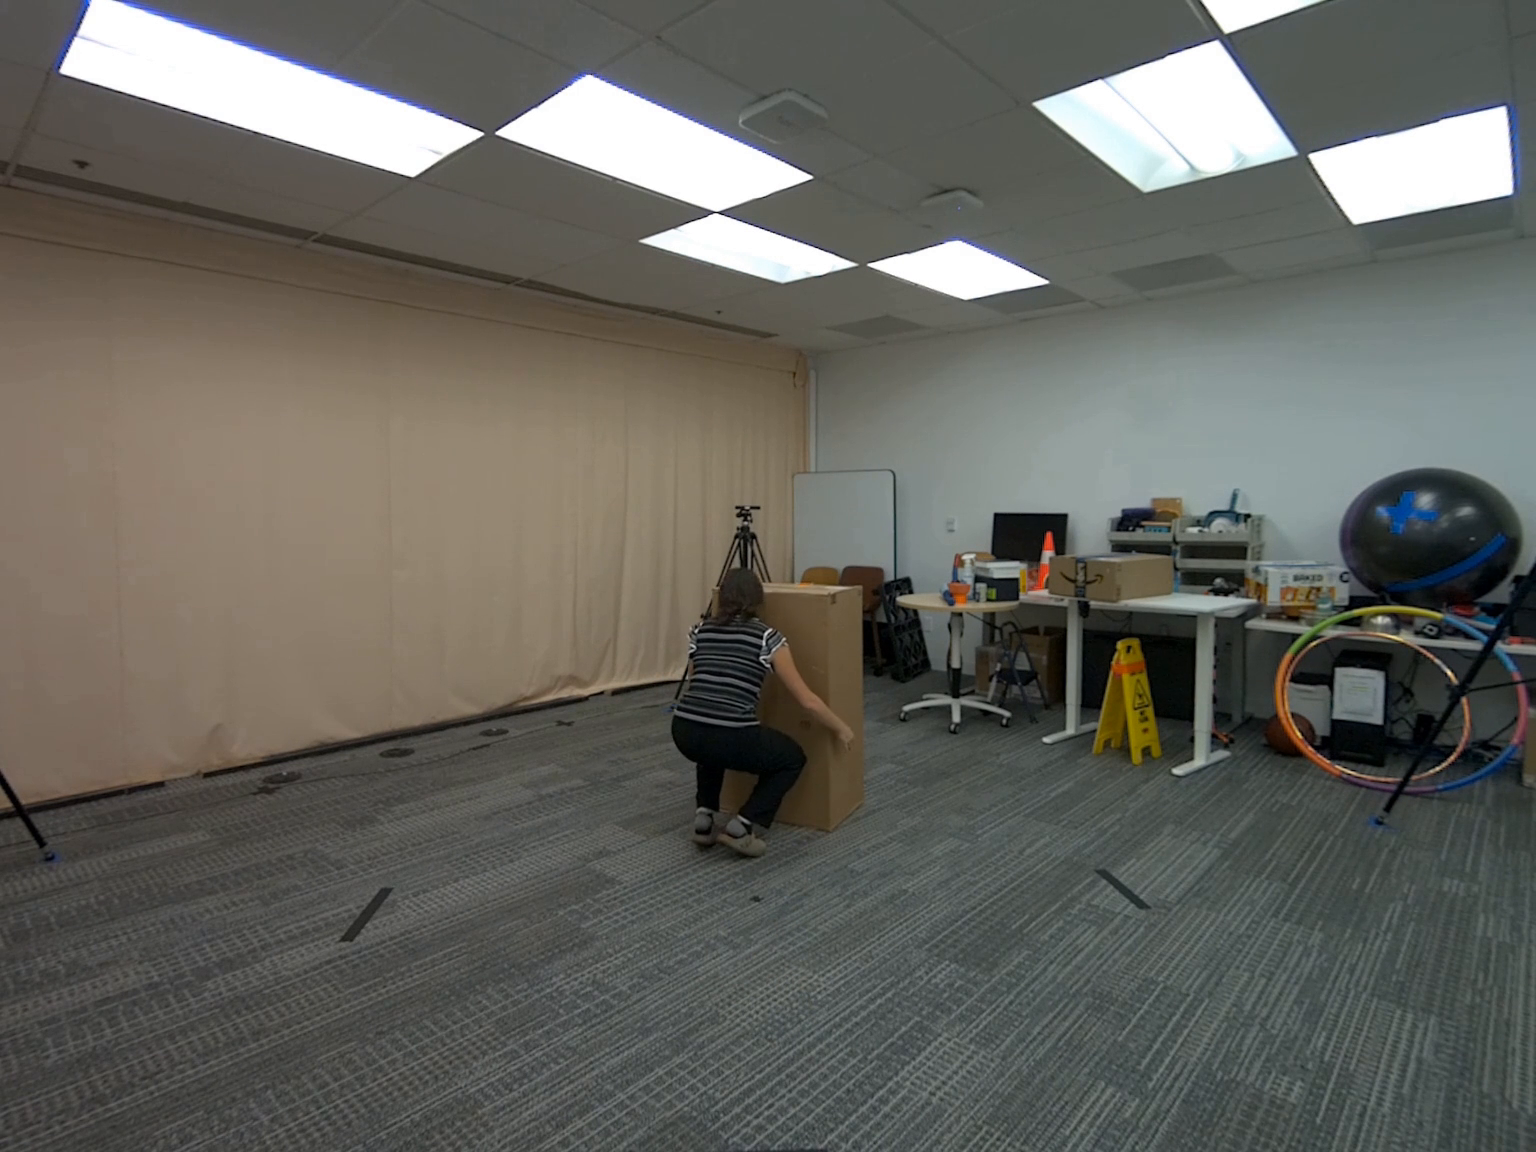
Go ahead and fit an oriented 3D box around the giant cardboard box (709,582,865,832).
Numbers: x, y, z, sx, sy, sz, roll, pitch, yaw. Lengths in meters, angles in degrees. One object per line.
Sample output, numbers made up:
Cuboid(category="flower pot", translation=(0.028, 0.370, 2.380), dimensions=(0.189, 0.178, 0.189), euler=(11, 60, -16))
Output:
Cuboid(category="giant cardboard box", translation=(0.102, 0.558, 3.892), dimensions=(0.593, 1.024, 0.416), euler=(1, 3, 27))
